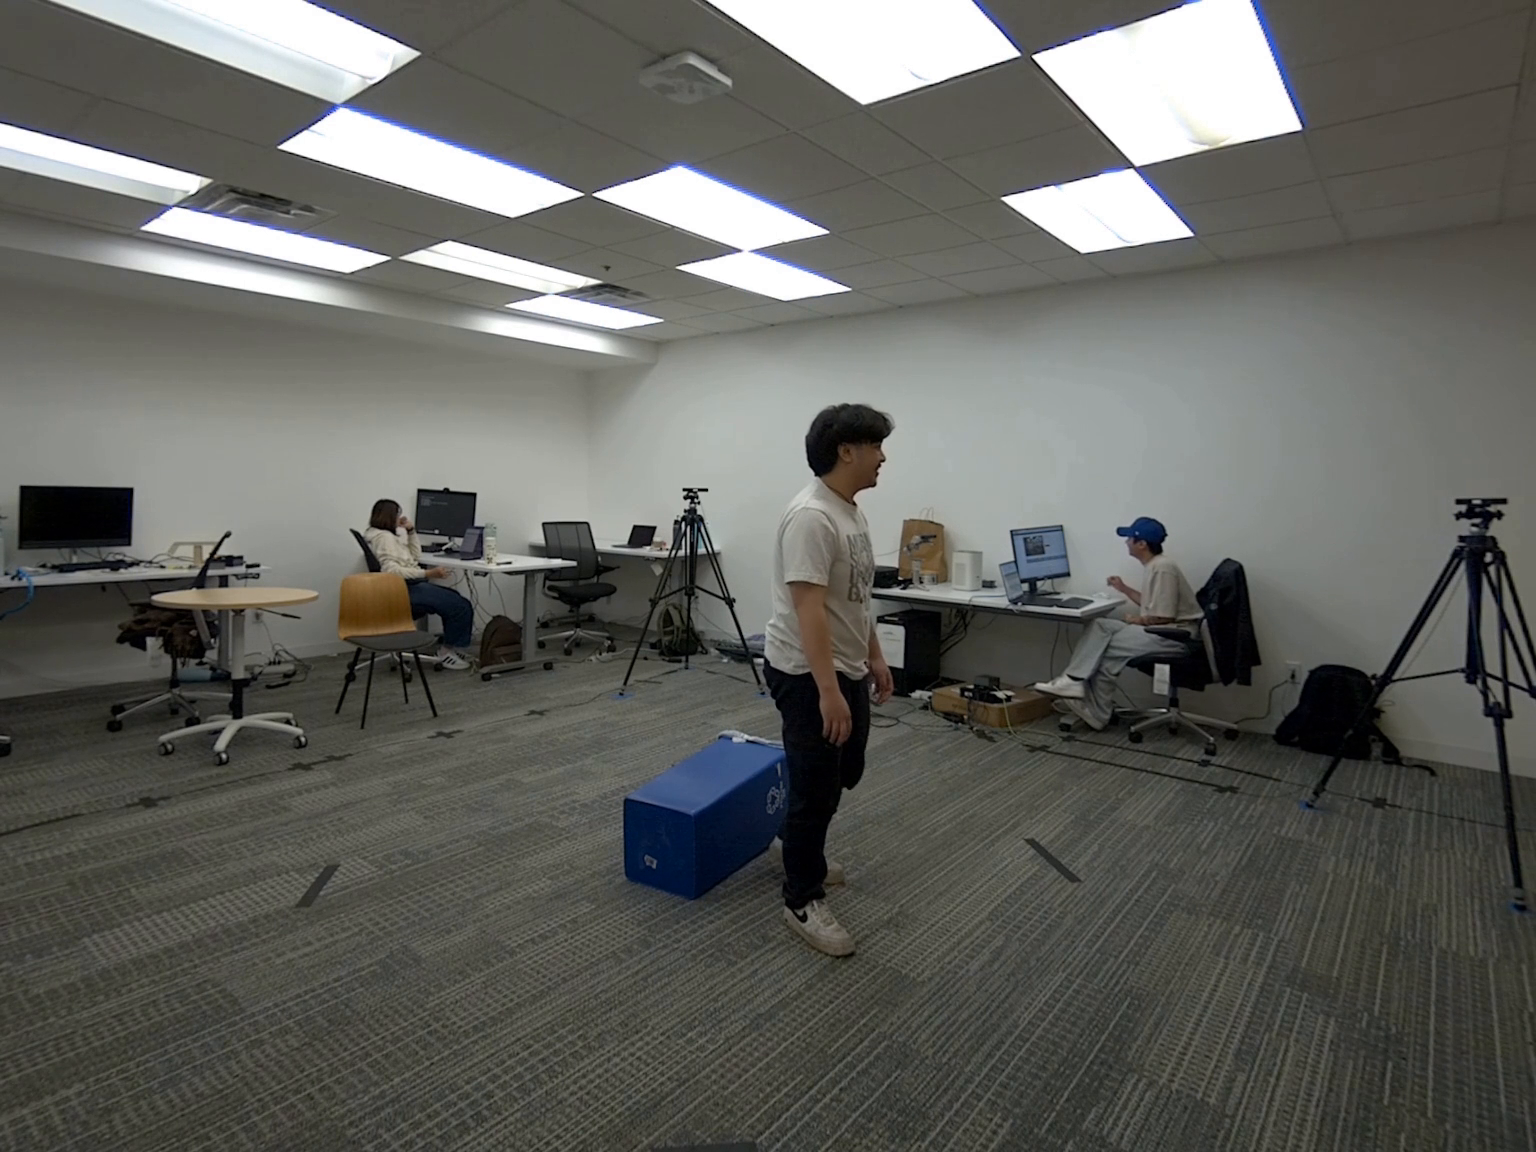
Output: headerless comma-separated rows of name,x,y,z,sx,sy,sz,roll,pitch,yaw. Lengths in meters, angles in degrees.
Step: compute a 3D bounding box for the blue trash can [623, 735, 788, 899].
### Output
blue trash can,-0.222,0.893,3.231,0.389,0.371,0.697,5,10,30
